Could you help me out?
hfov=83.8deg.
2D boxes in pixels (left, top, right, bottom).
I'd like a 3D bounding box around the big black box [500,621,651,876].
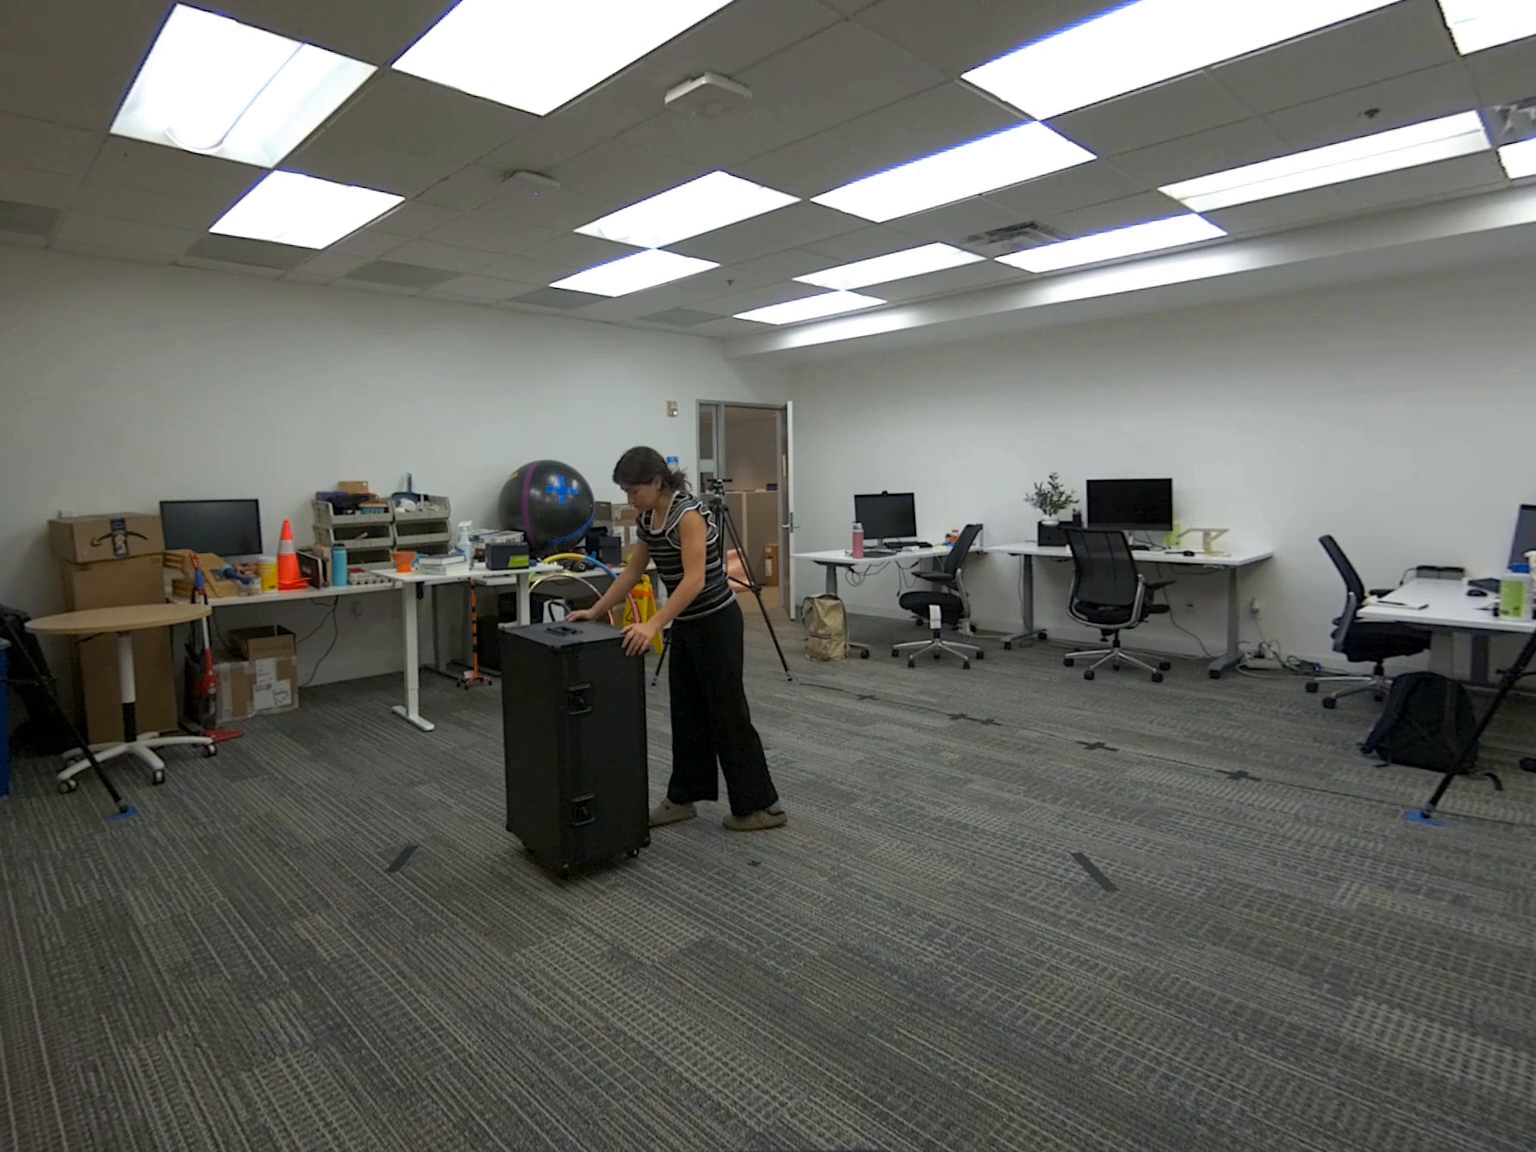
[{"bbox_3d":[-0.718,0.624,3.178,0.386,0.859,0.537,-3,4,-38],"label":"big black box"}]
